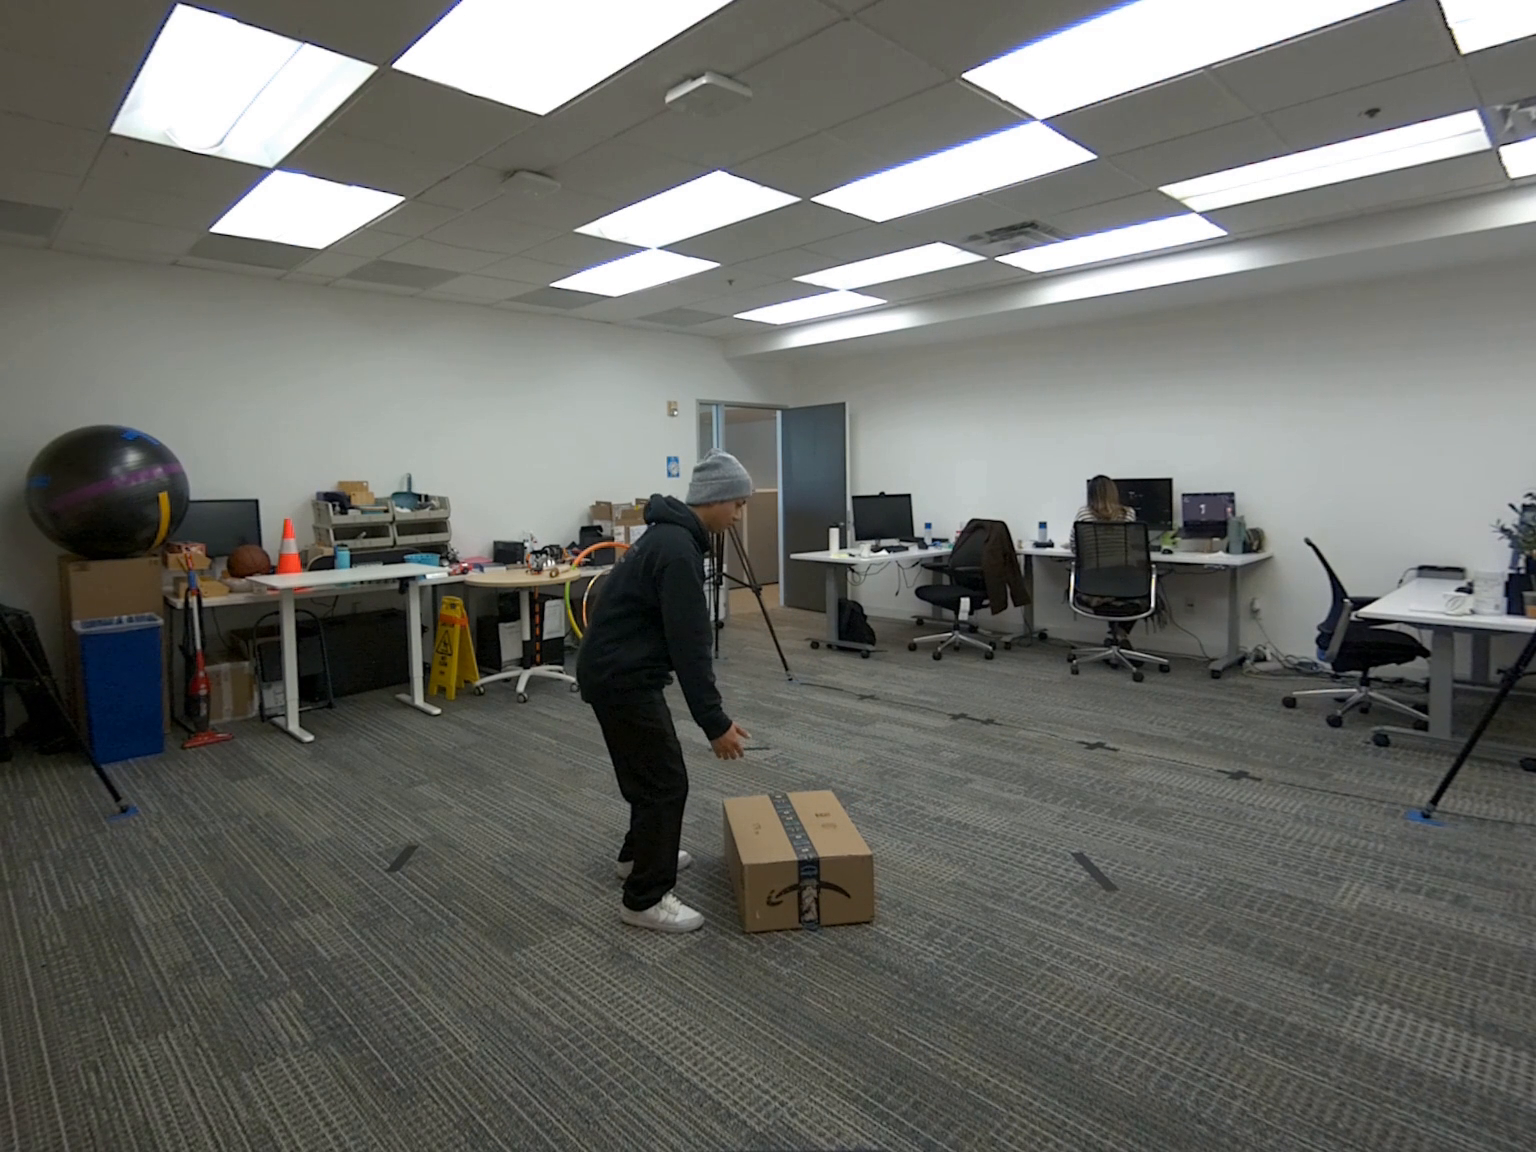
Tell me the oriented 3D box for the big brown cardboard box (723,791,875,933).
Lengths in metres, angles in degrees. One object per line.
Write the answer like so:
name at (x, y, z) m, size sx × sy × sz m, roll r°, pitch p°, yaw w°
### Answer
big brown cardboard box at (0.087, 0.951, 2.918) m, size 0.415 × 0.232 × 0.596 m, roll -3°, pitch 7°, yaw -8°
